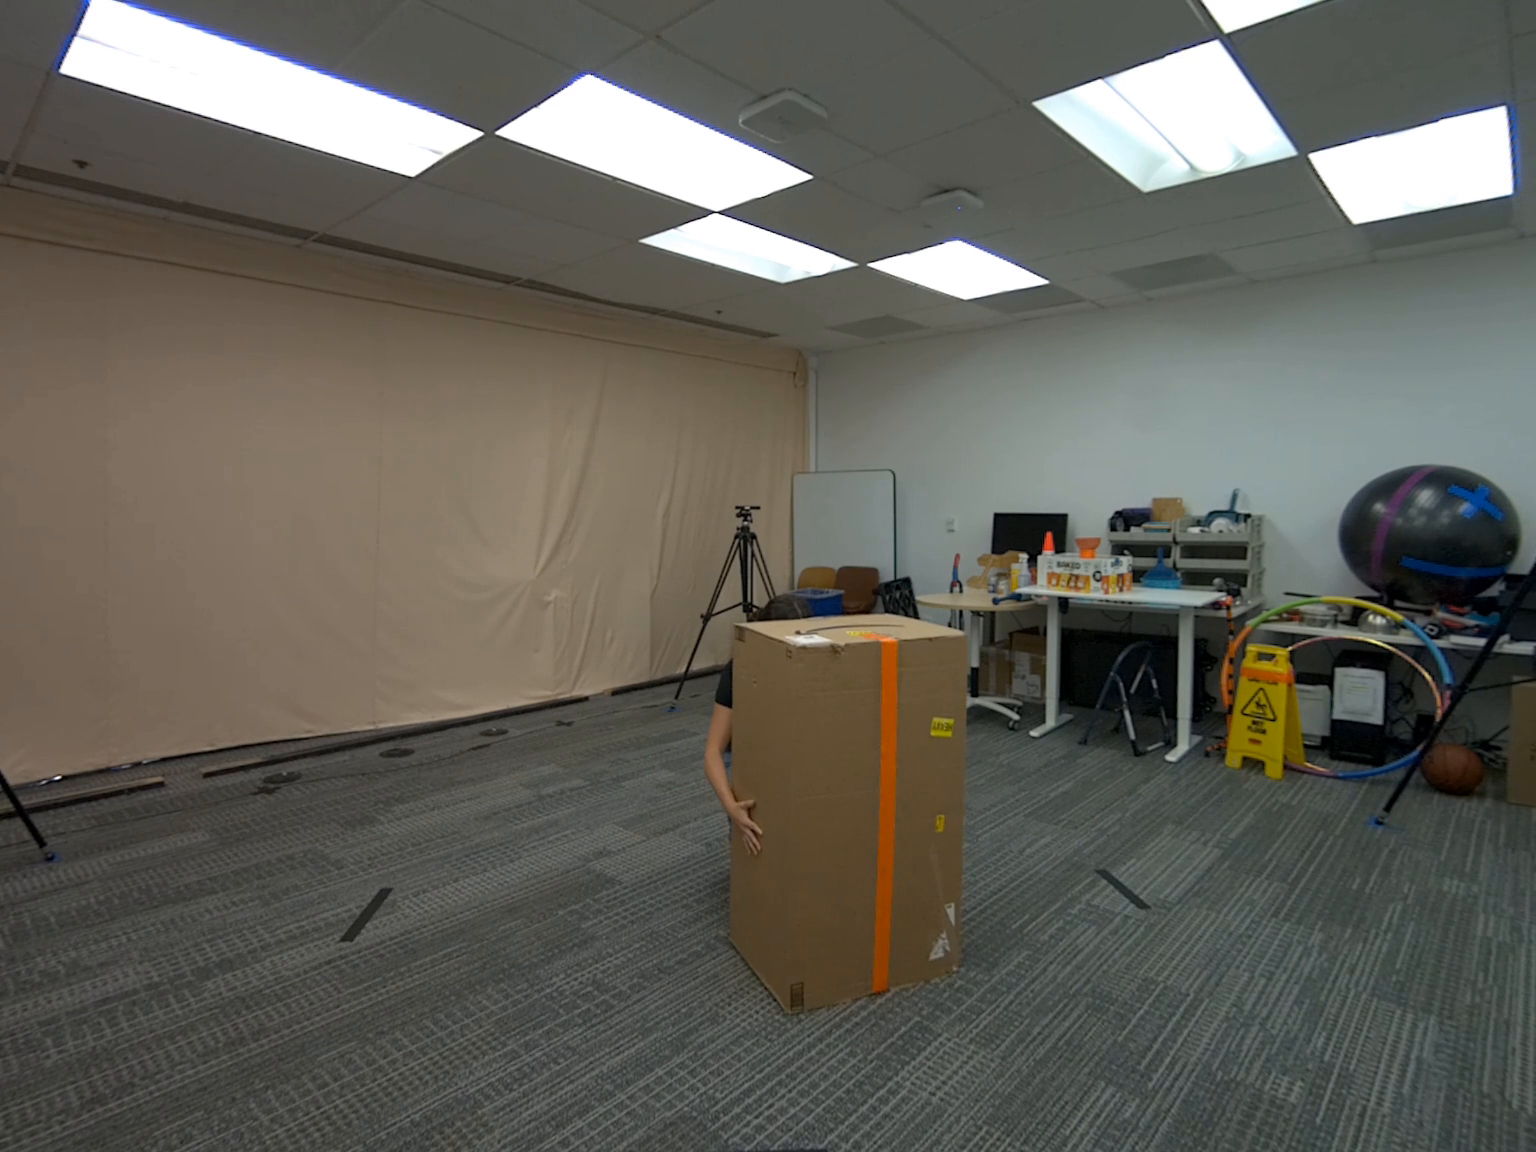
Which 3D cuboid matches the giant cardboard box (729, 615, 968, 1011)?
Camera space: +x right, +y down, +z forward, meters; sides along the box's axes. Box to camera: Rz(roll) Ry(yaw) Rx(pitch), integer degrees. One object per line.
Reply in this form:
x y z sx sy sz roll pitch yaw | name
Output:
0.241 0.662 2.561 0.564 1.023 0.437 -1 4 -24 | giant cardboard box
